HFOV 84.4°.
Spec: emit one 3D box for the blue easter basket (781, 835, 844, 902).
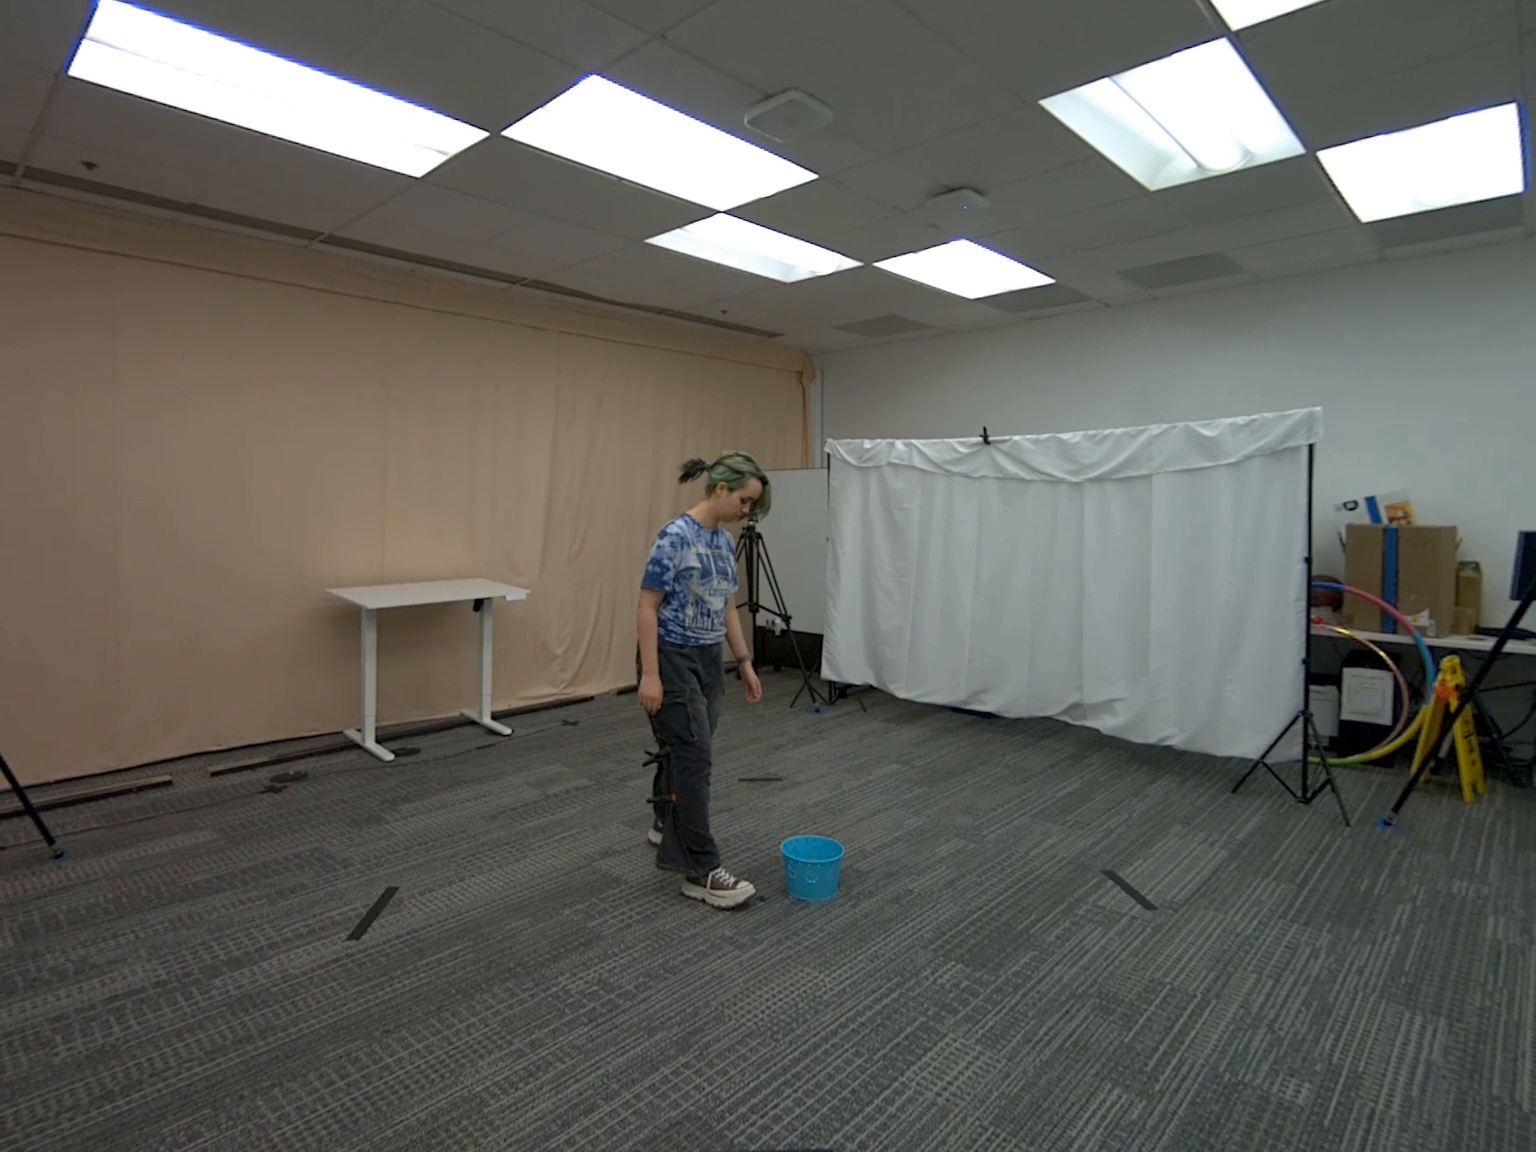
[{"bbox_3d":[0.166,1.060,3.056,0.243,0.155,0.244,0,4,-2],"label":"blue easter basket"}]
